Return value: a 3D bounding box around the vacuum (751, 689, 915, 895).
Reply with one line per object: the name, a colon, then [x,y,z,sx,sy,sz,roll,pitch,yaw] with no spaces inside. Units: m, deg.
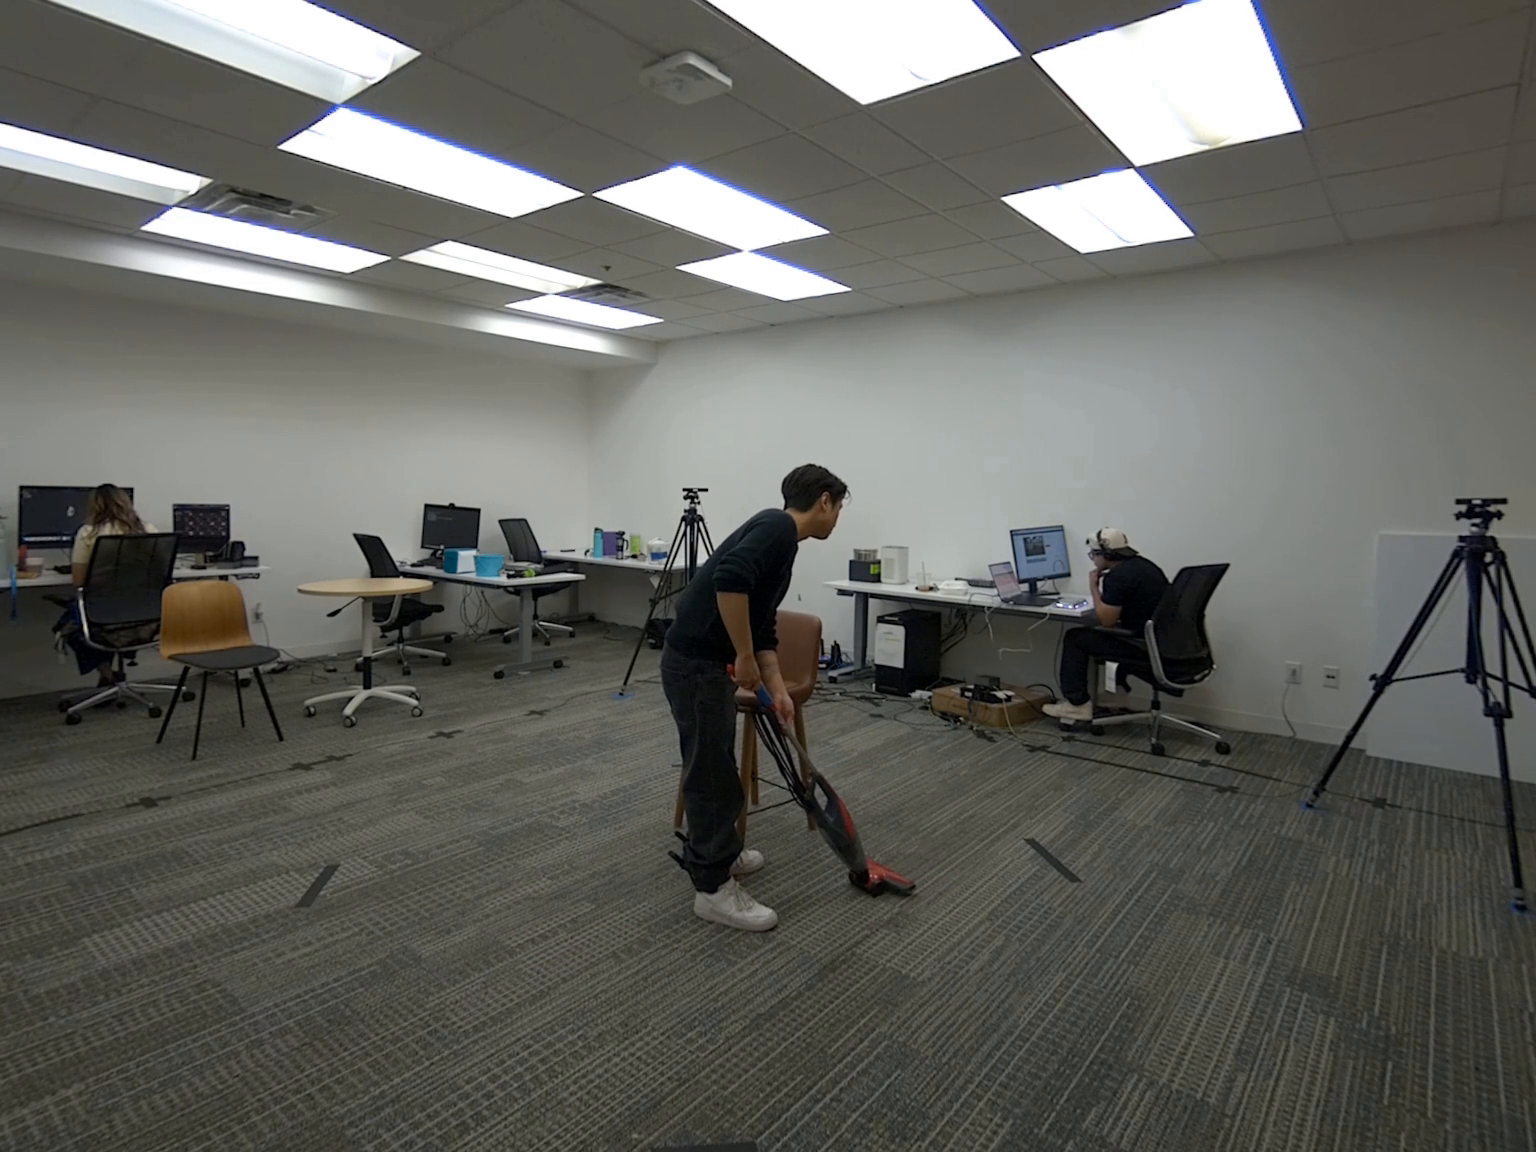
vacuum: [0.146,0.697,2.824,0.144,1.018,0.261,-44,26,-23]
